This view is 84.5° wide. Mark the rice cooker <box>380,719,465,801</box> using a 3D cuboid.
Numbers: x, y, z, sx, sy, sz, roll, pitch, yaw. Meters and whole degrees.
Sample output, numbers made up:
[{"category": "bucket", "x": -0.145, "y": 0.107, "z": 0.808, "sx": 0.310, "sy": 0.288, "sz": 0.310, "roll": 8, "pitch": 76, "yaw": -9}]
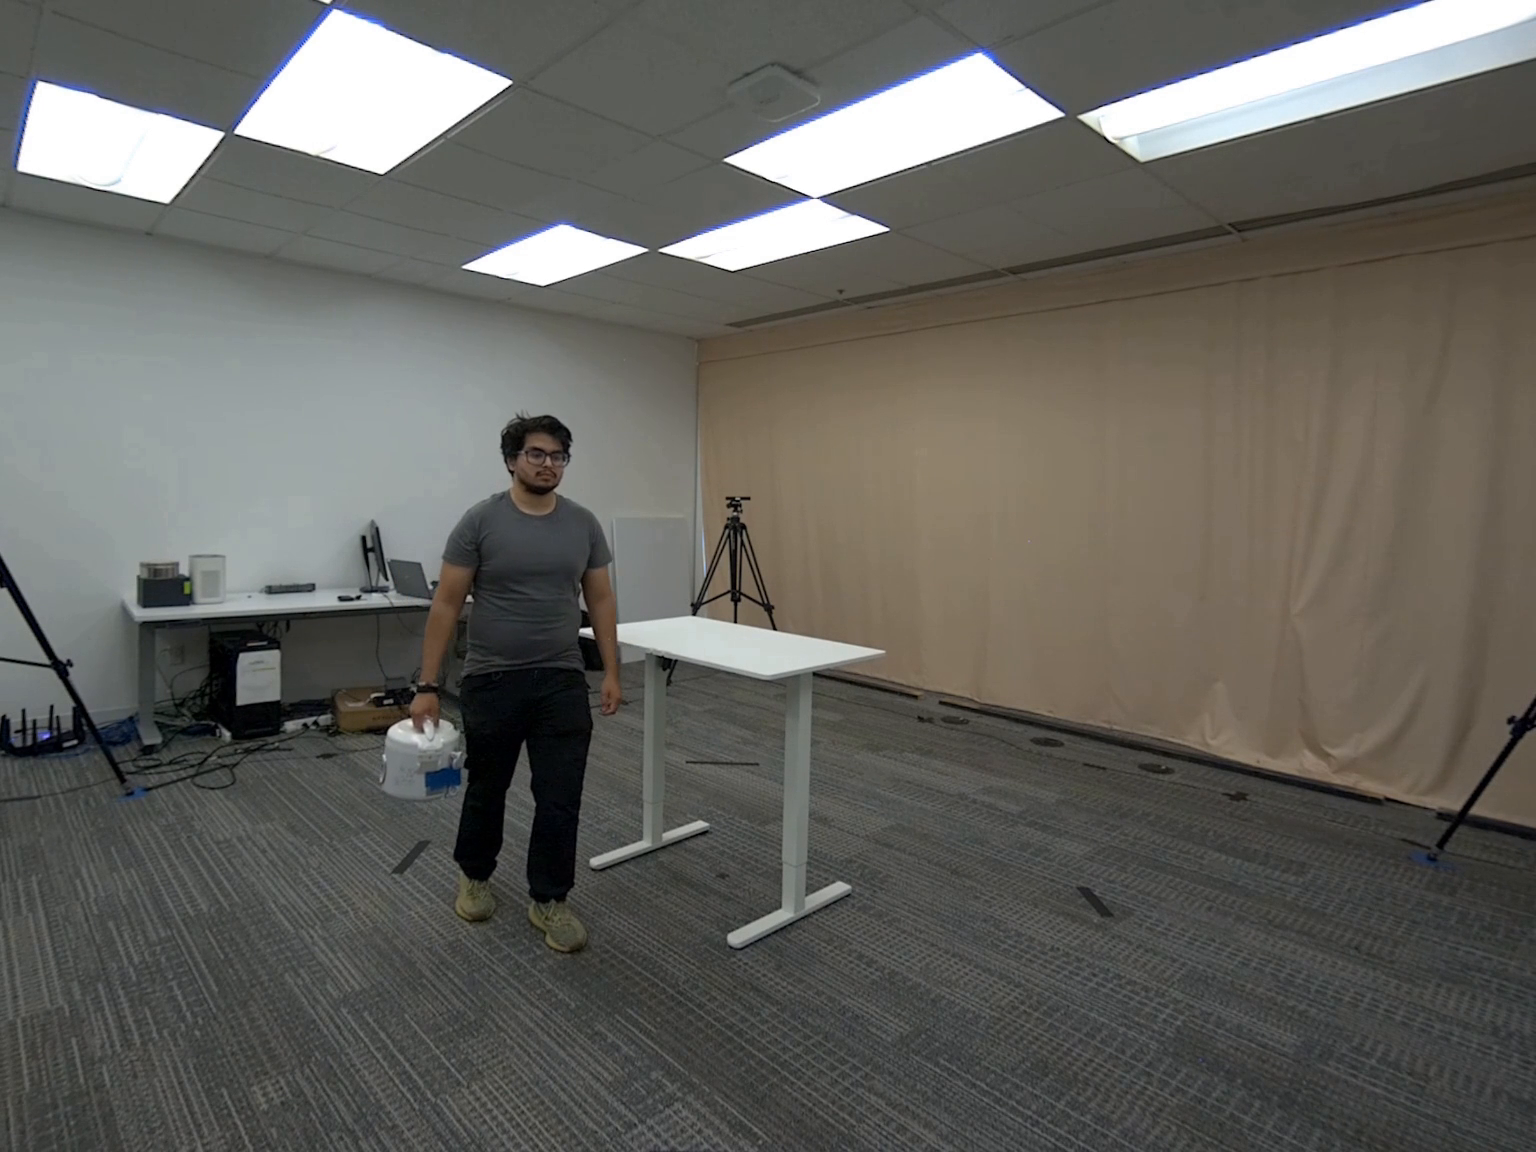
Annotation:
[{"category": "rice cooker", "x": -1.047, "y": 0.541, "z": 2.514, "sx": 0.213, "sy": 0.232, "sz": 0.226, "roll": 4, "pitch": 8, "yaw": -31}]
